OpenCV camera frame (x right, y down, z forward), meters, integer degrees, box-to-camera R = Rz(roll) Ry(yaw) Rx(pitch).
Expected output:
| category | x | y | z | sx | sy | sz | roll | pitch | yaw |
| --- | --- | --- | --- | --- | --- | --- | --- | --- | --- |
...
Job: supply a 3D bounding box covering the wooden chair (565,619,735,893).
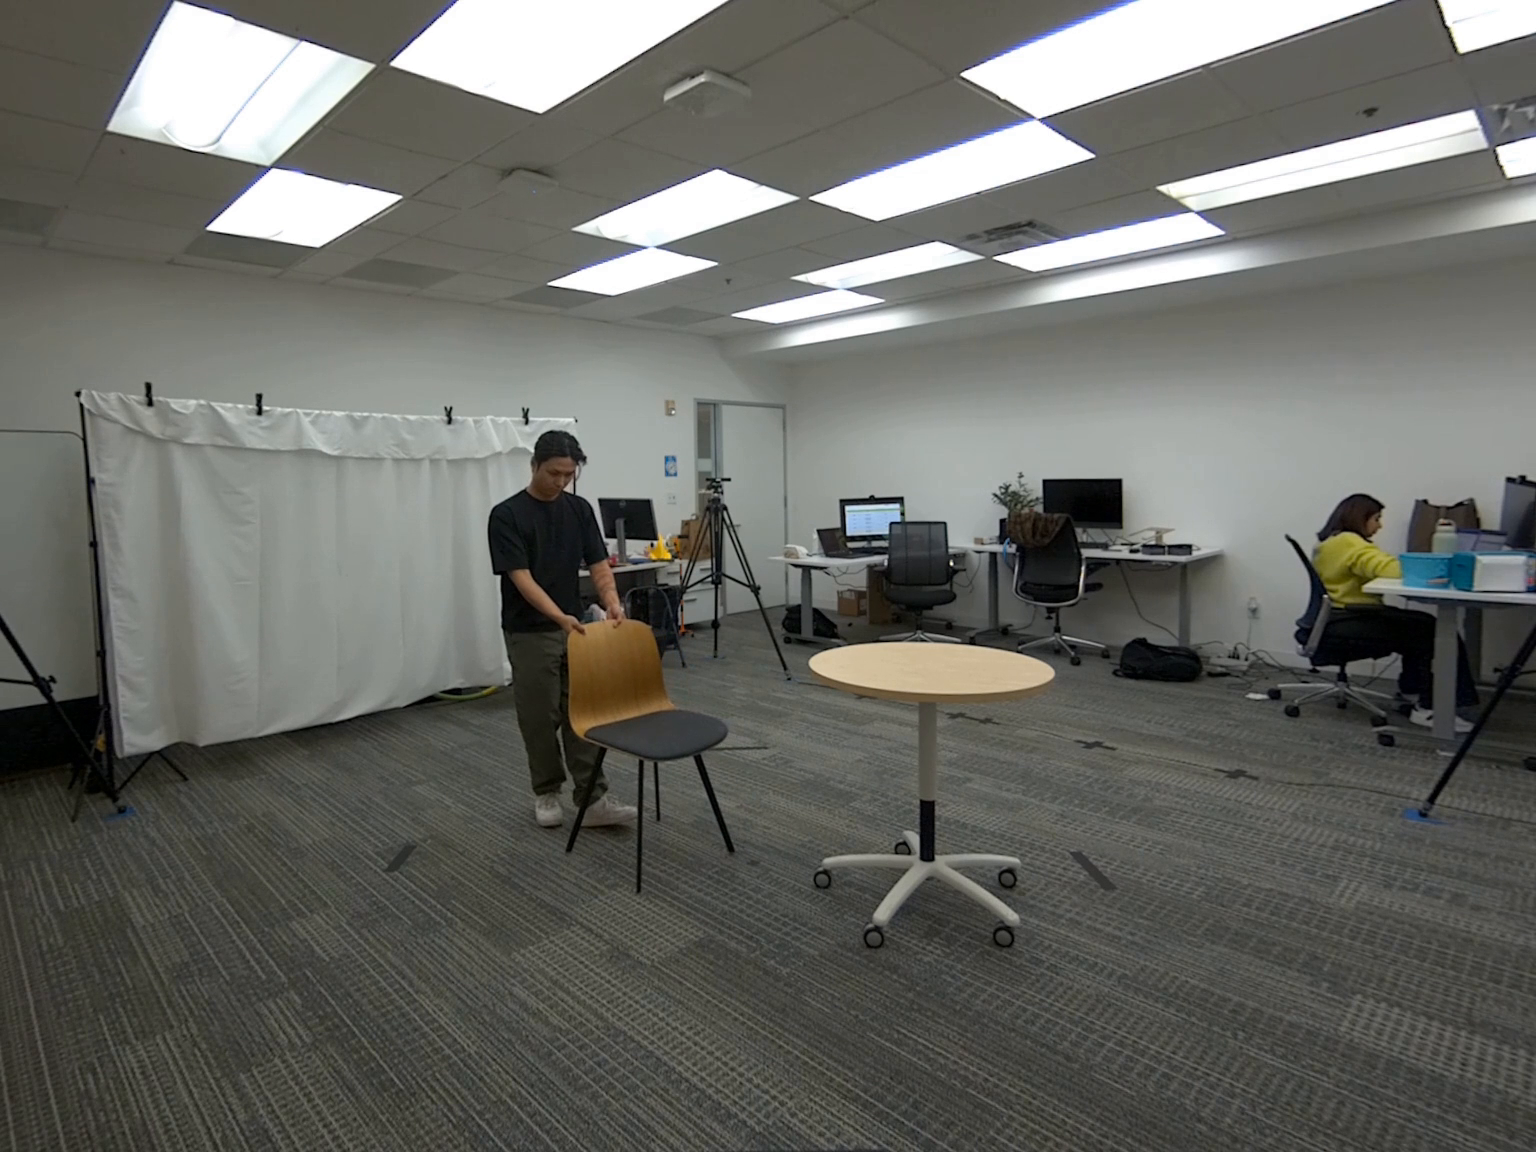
| category | x | y | z | sx | sy | sz | roll | pitch | yaw |
| --- | --- | --- | --- | --- | --- | --- | --- | --- | --- |
| wooden chair | -0.441 | 0.615 | 3.165 | 0.465 | 0.877 | 0.537 | -5 | 1 | -44 |
